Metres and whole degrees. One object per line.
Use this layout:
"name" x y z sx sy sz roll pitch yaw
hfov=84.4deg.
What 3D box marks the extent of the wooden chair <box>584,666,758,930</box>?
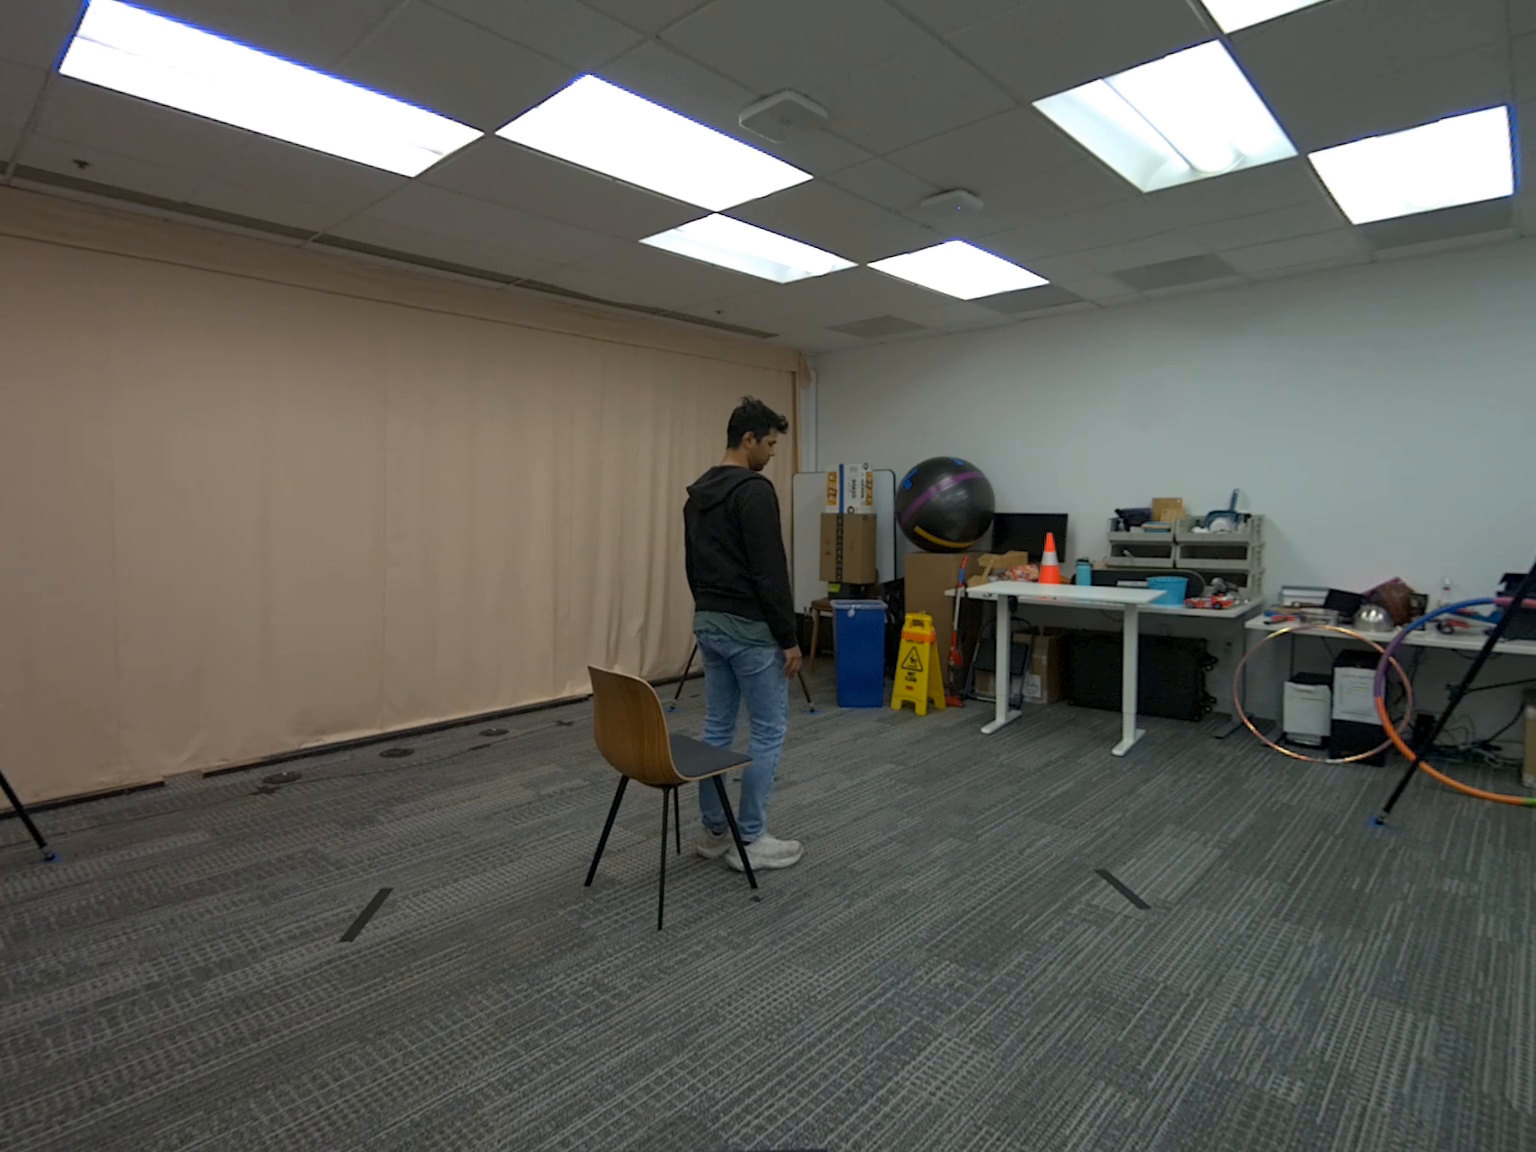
"wooden chair" -0.352 0.716 3.051 0.508 0.874 0.494 -9 8 -42
